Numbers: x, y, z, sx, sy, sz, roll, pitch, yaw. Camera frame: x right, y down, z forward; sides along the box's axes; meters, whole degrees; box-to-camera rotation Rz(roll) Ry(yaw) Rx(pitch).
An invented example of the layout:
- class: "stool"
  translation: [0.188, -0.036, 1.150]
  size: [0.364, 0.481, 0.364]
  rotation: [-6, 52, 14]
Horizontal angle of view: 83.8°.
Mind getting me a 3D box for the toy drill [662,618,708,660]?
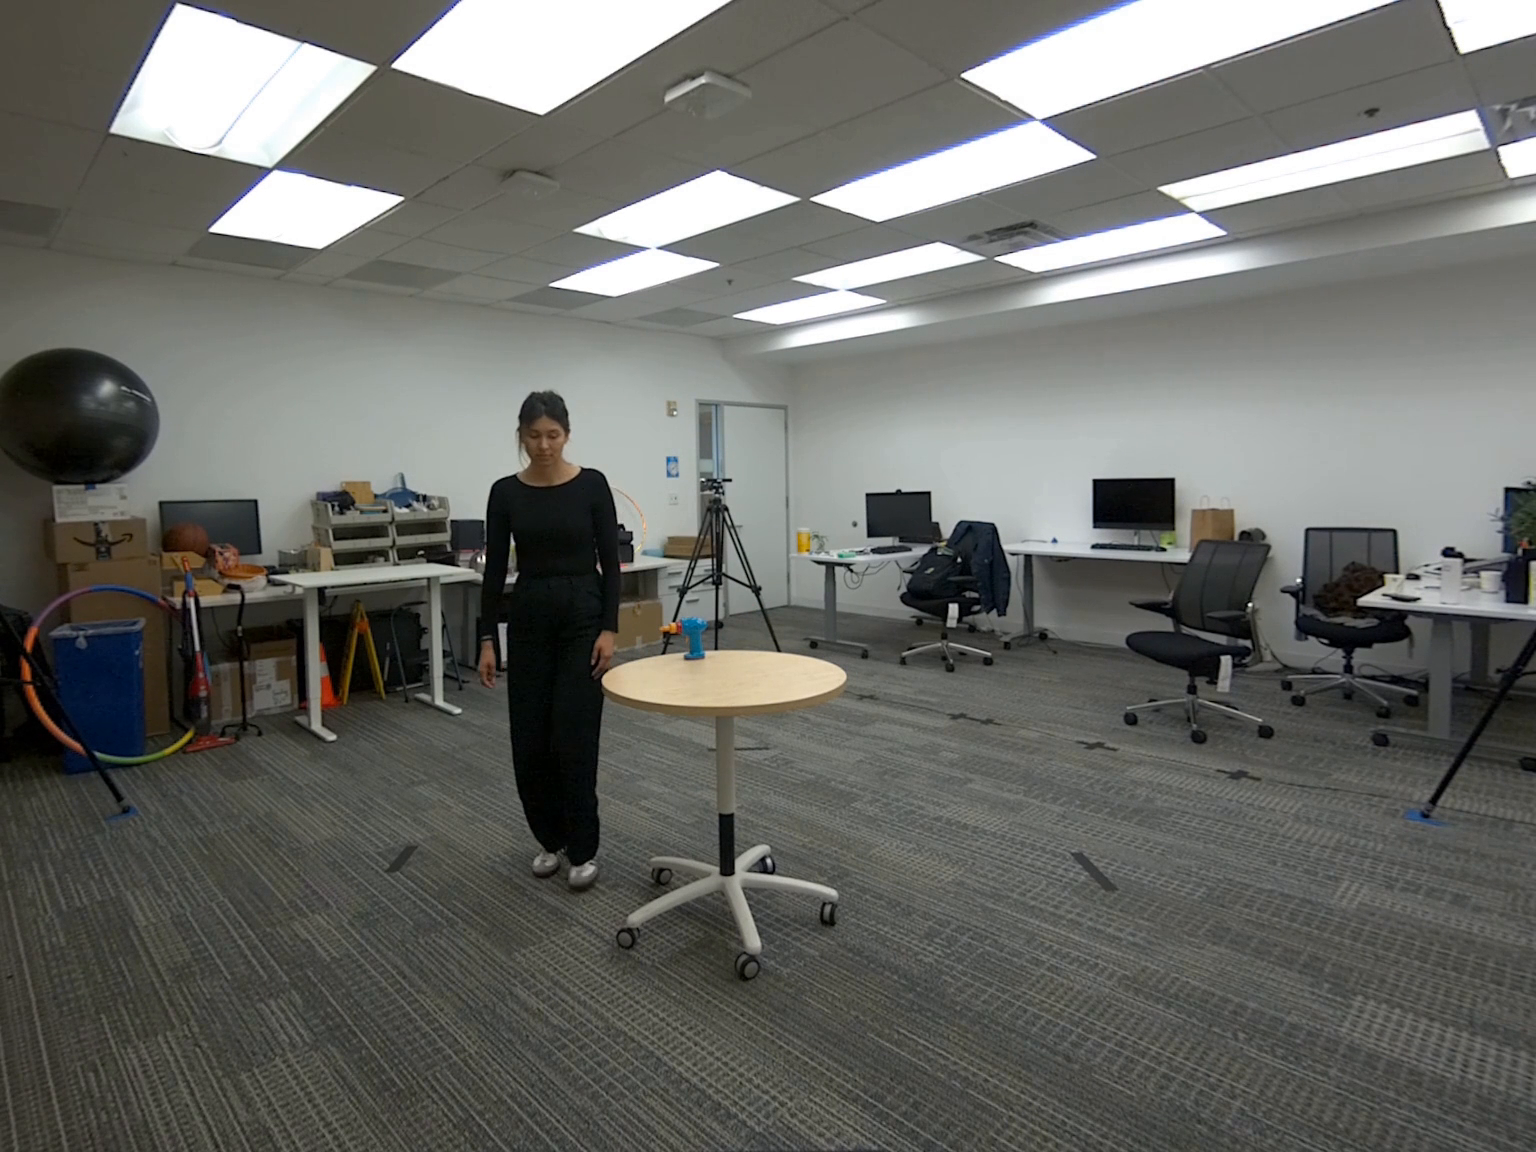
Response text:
- class: "toy drill"
  translation: [-0.287, 0.212, 2.916]
  size: [0.166, 0.146, 0.062]
  rotation: [-3, 2, -24]
